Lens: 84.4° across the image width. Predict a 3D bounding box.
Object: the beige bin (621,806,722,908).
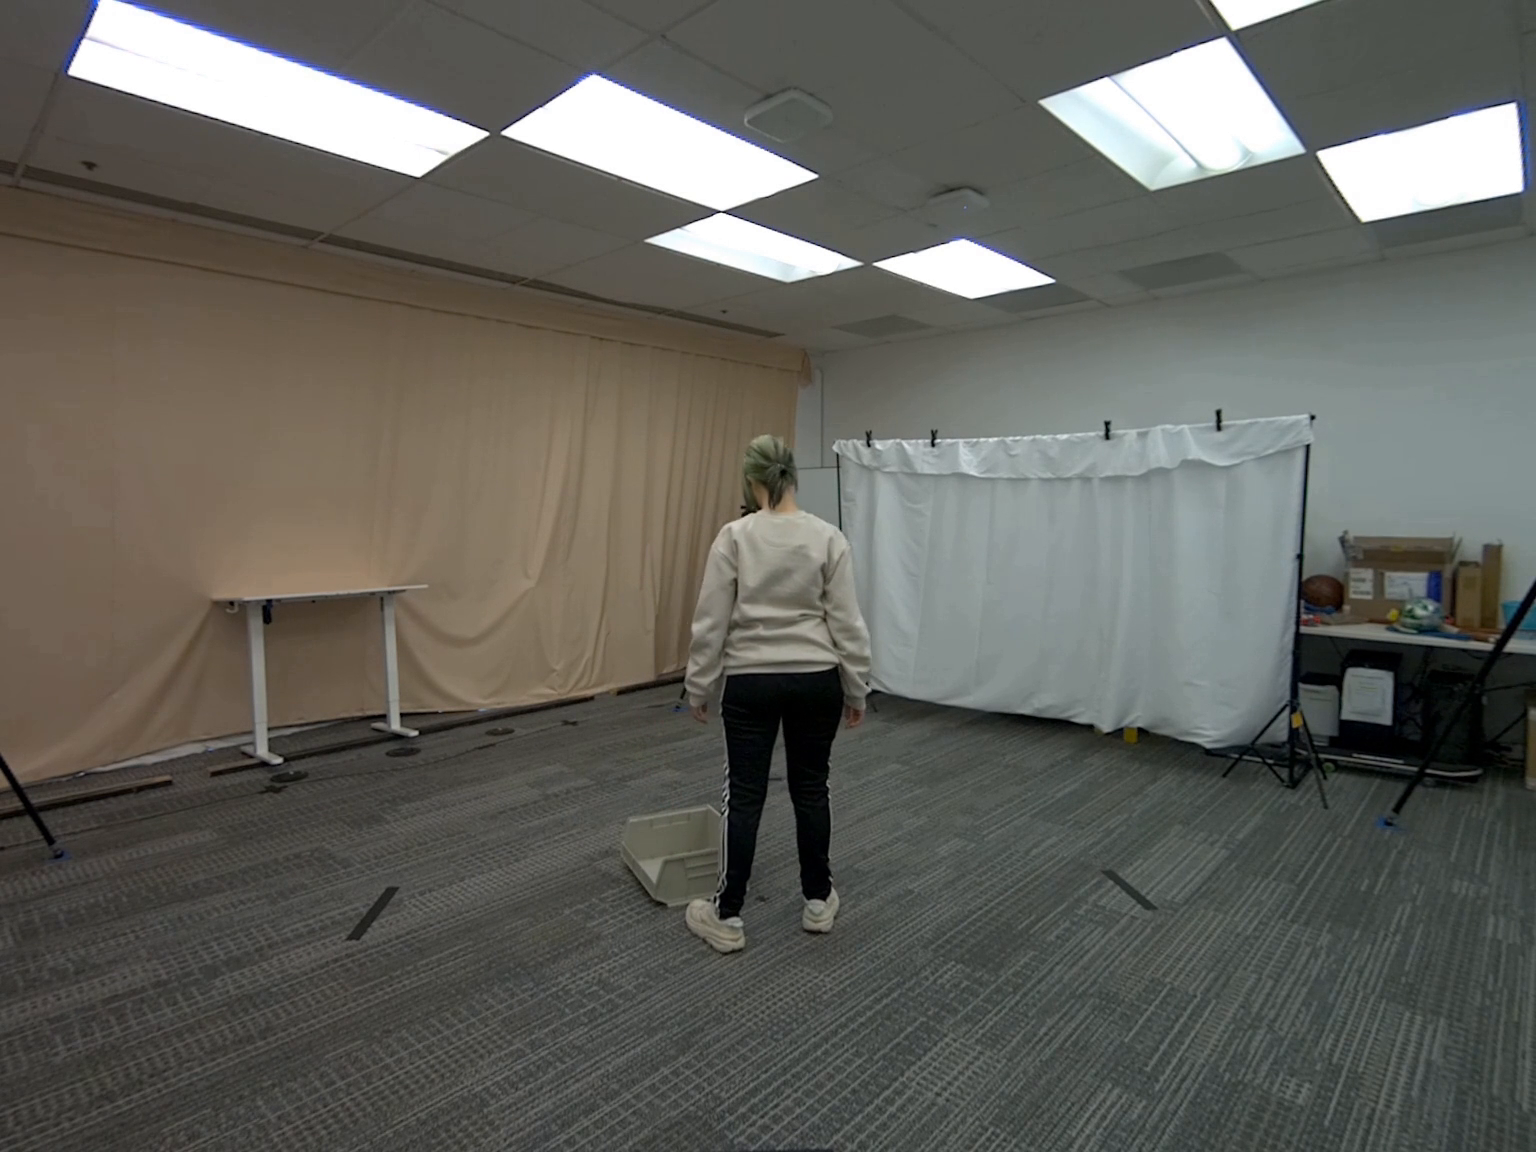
[{"bbox_3d":[-0.316,1.042,3.156,0.368,0.188,0.433,-2,4,-25],"label":"beige bin"}]
